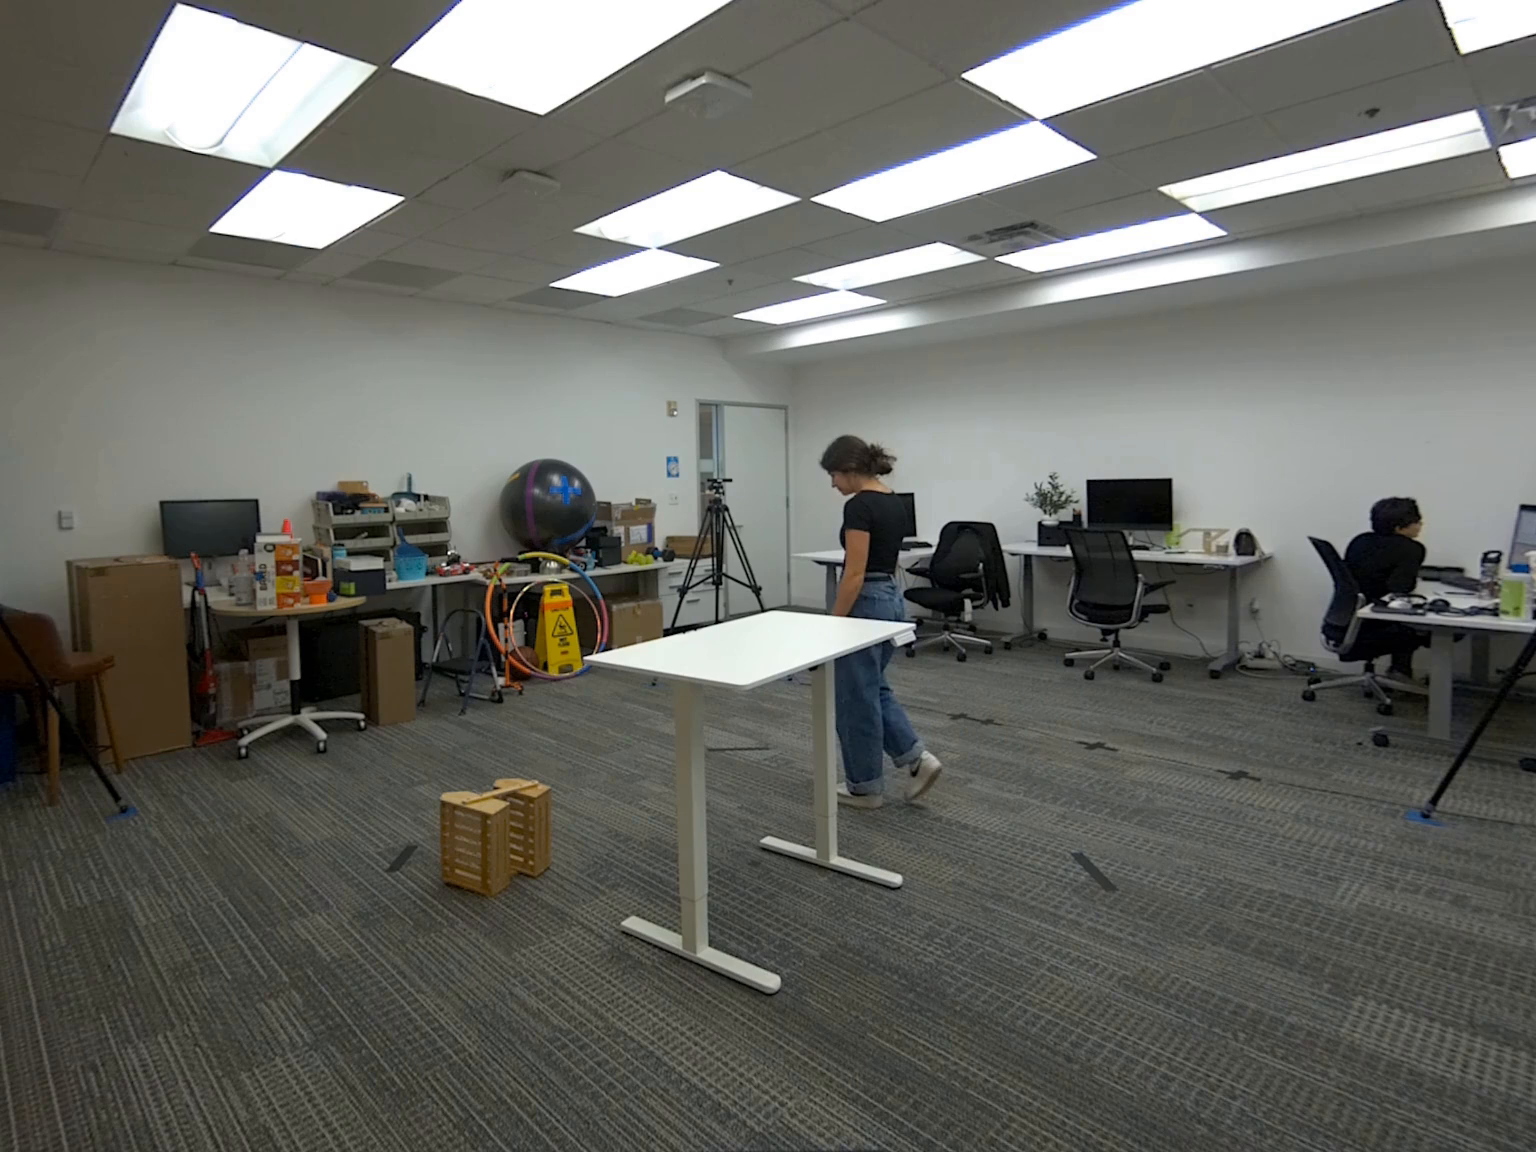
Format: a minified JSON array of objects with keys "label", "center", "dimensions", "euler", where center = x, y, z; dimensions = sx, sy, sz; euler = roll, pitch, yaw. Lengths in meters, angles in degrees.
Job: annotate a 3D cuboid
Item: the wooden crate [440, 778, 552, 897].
[{"label":"wooden crate","center":[-0.966,0.907,3.027],"dimensions":[0.309,0.322,0.269],"euler":[7,11,23]}]
